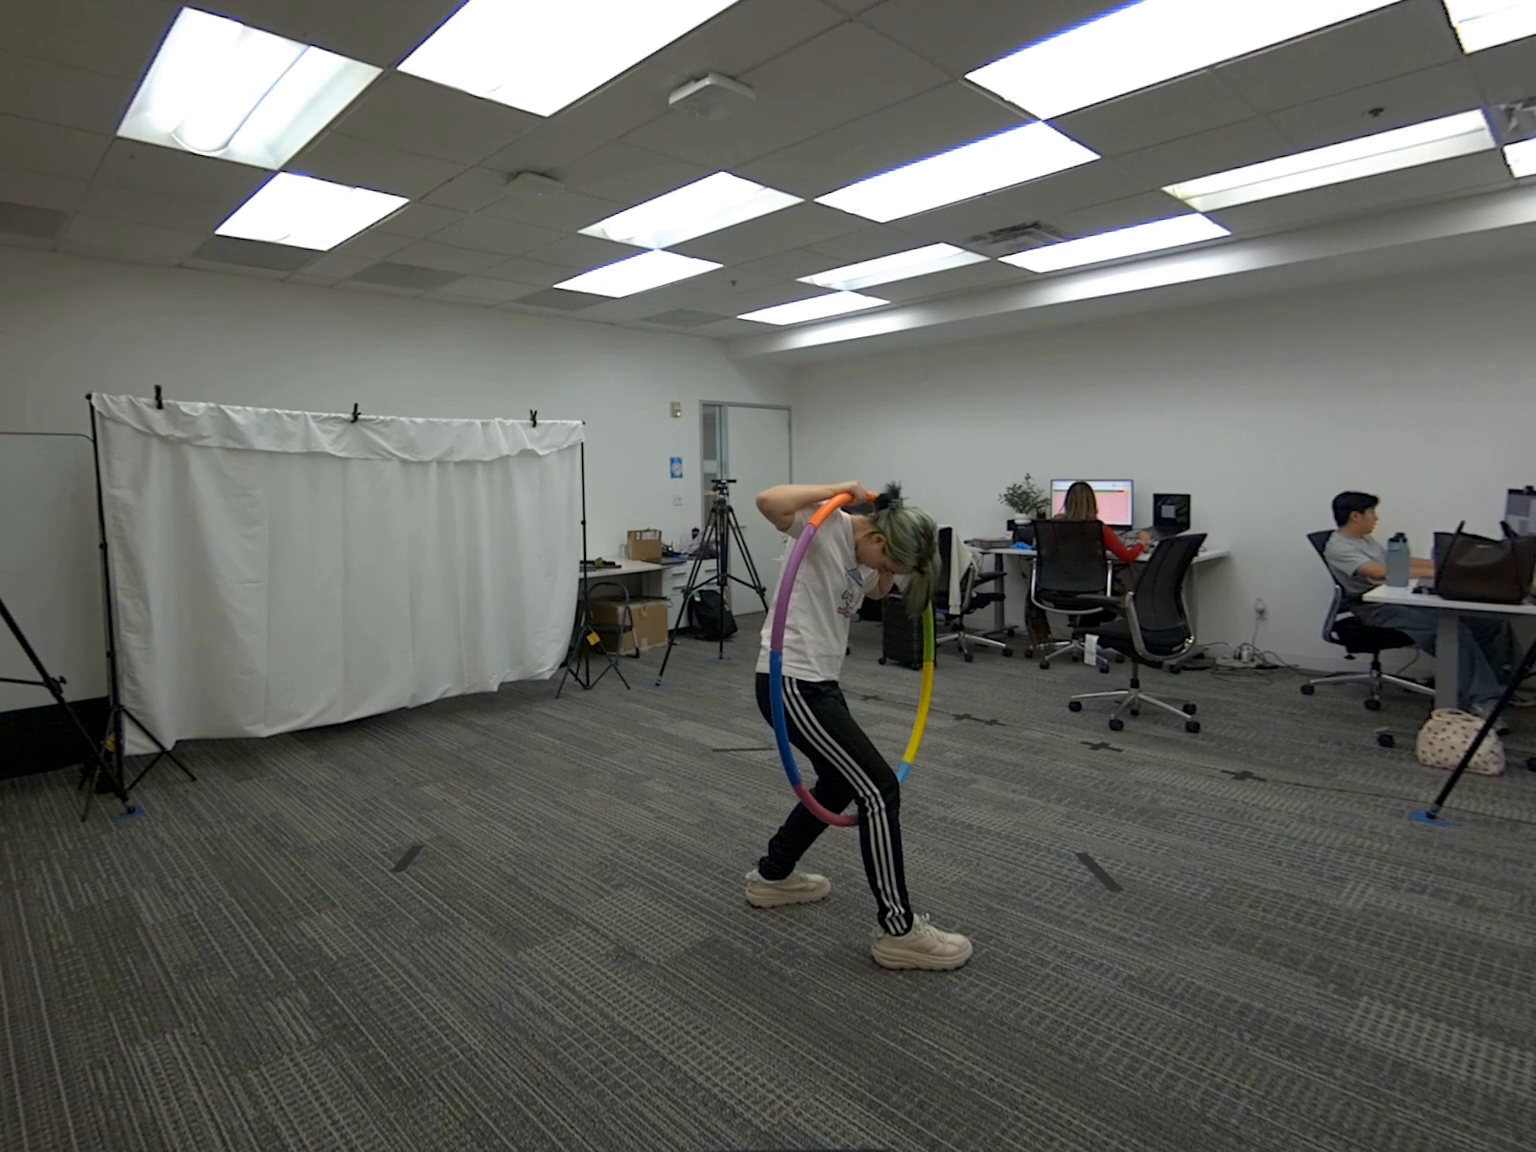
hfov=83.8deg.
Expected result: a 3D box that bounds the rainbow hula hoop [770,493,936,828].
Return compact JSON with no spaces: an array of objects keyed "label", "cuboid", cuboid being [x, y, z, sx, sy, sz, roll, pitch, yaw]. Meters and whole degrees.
[{"label":"rainbow hula hoop","cuboid":[0.282,0.238,2.588,0.036,0.976,0.955,-1,3,35]}]
